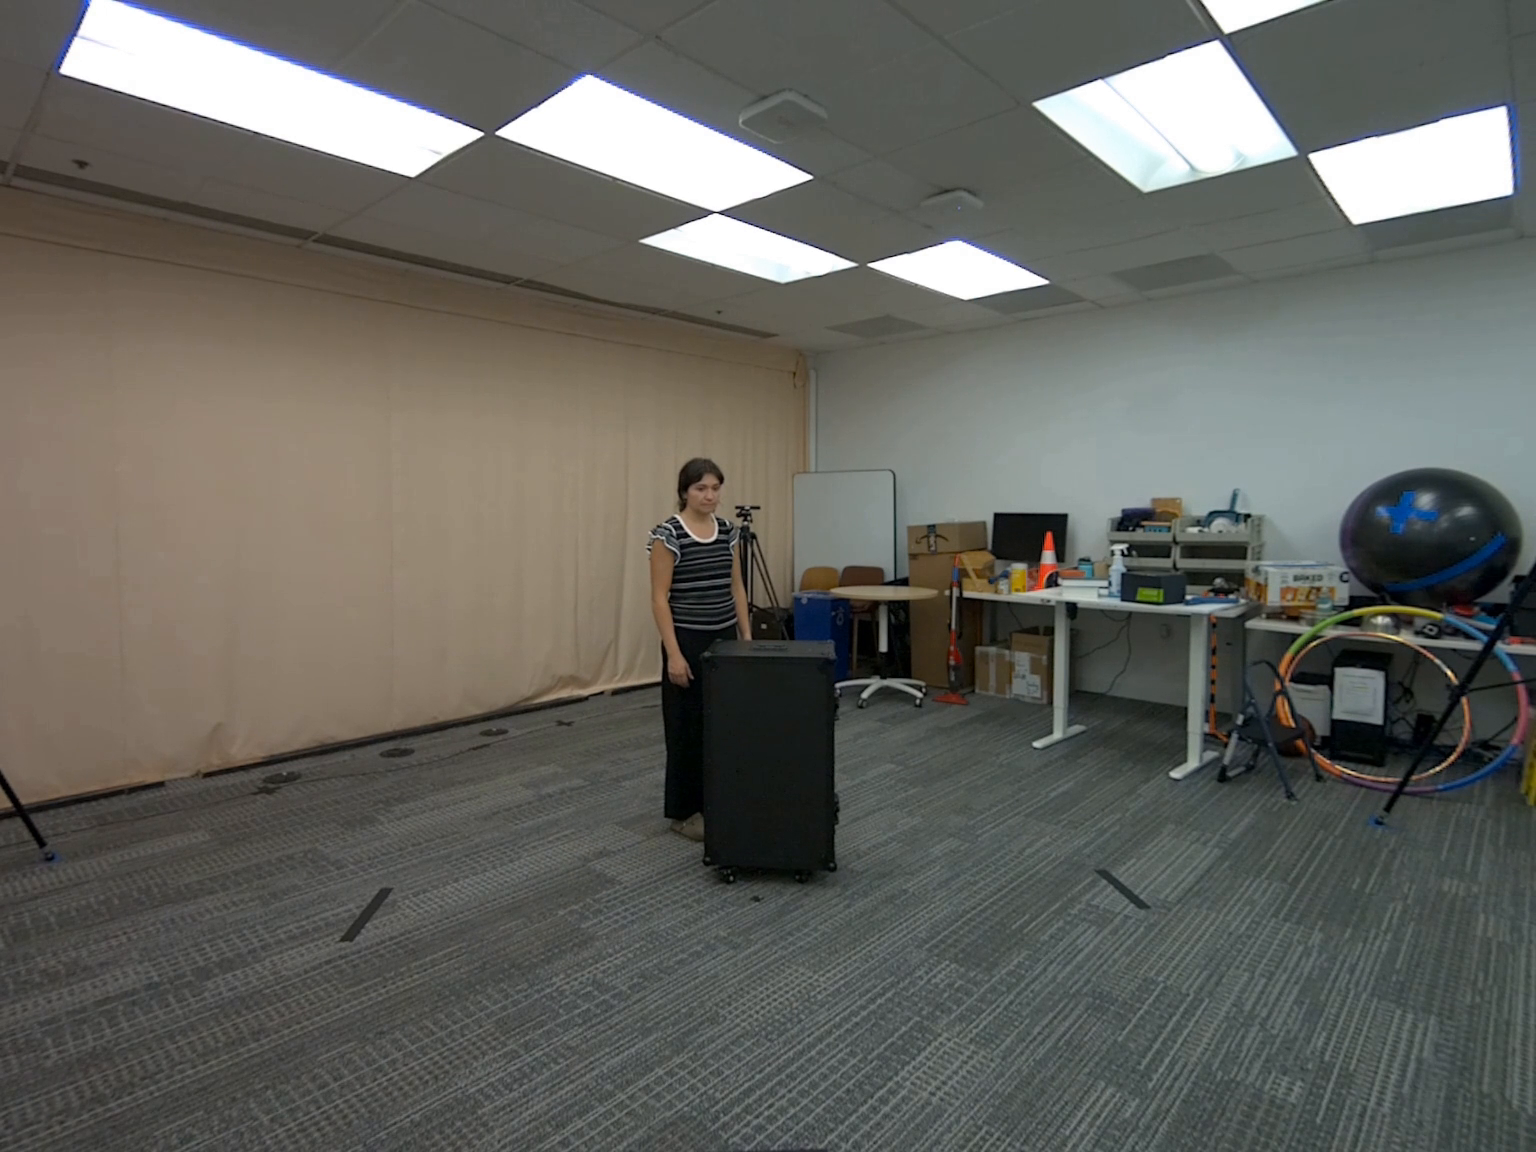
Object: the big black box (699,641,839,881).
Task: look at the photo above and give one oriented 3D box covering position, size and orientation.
[{"bbox_3d":[0.017,0.696,3.235,0.526,0.860,0.393,-1,2,7],"label":"big black box"}]
